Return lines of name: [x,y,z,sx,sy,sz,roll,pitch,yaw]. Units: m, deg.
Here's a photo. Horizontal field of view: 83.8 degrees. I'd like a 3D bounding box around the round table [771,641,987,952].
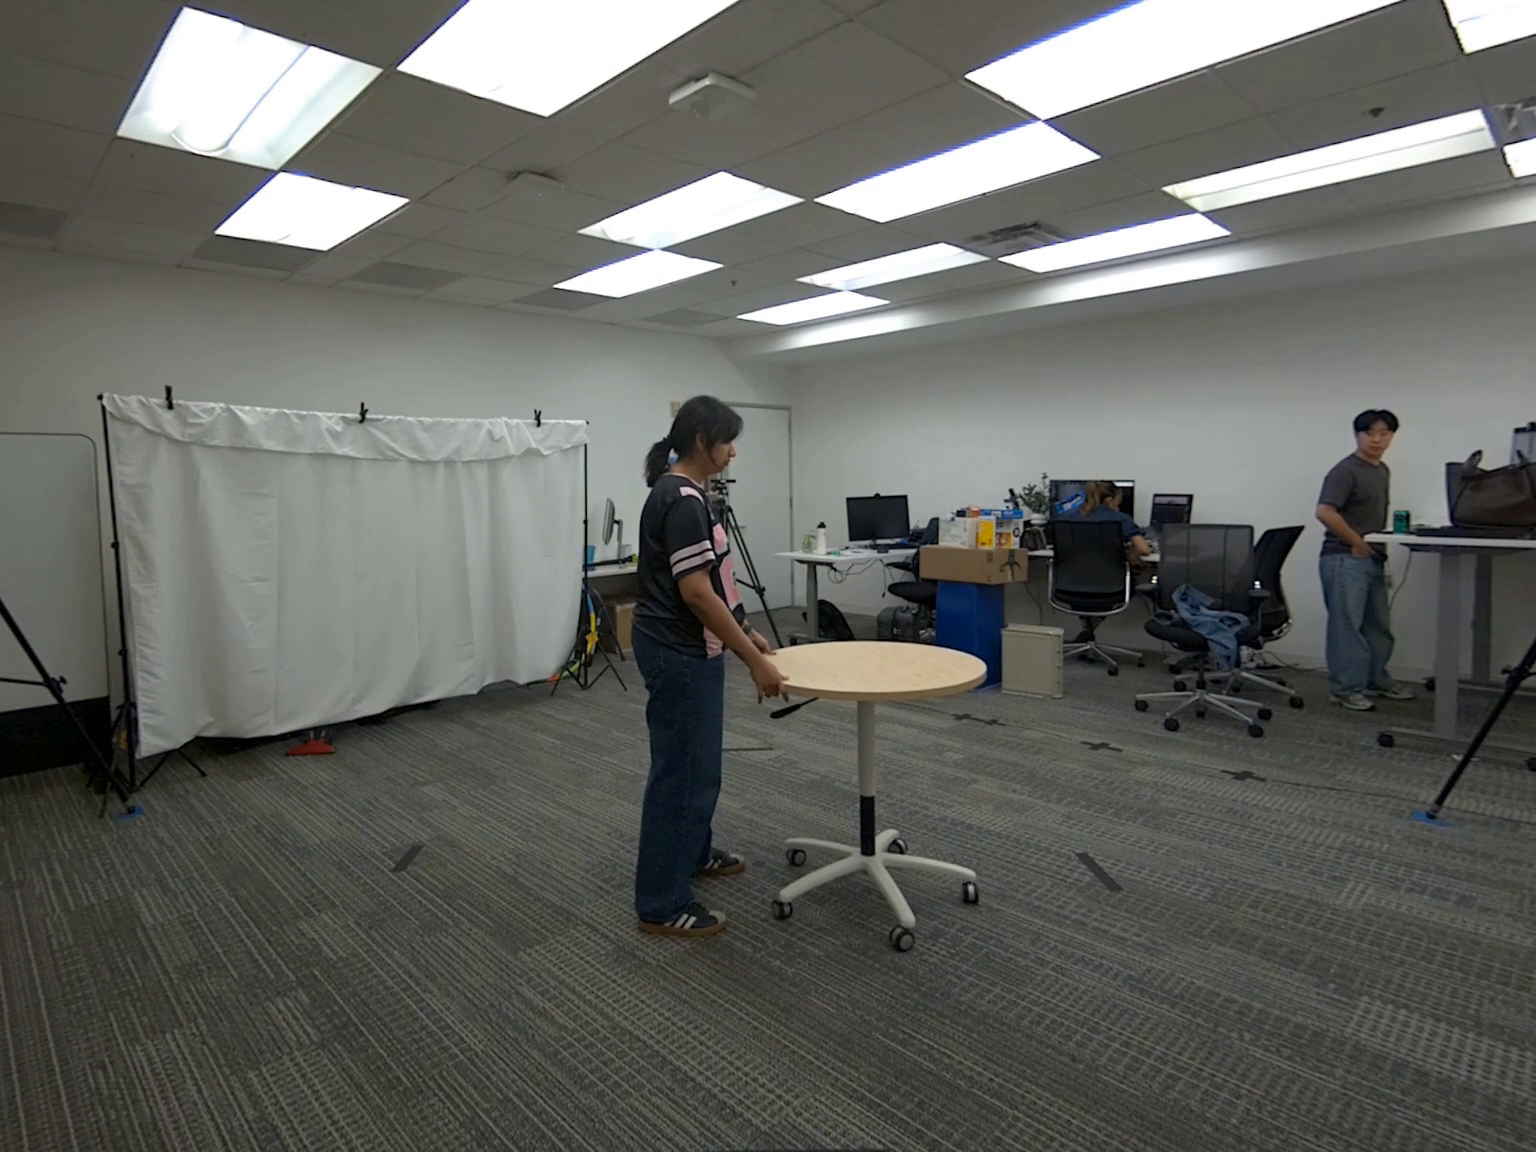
round table: [0.337,0.678,2.839,0.763,0.791,0.768,-1,5,-2]
